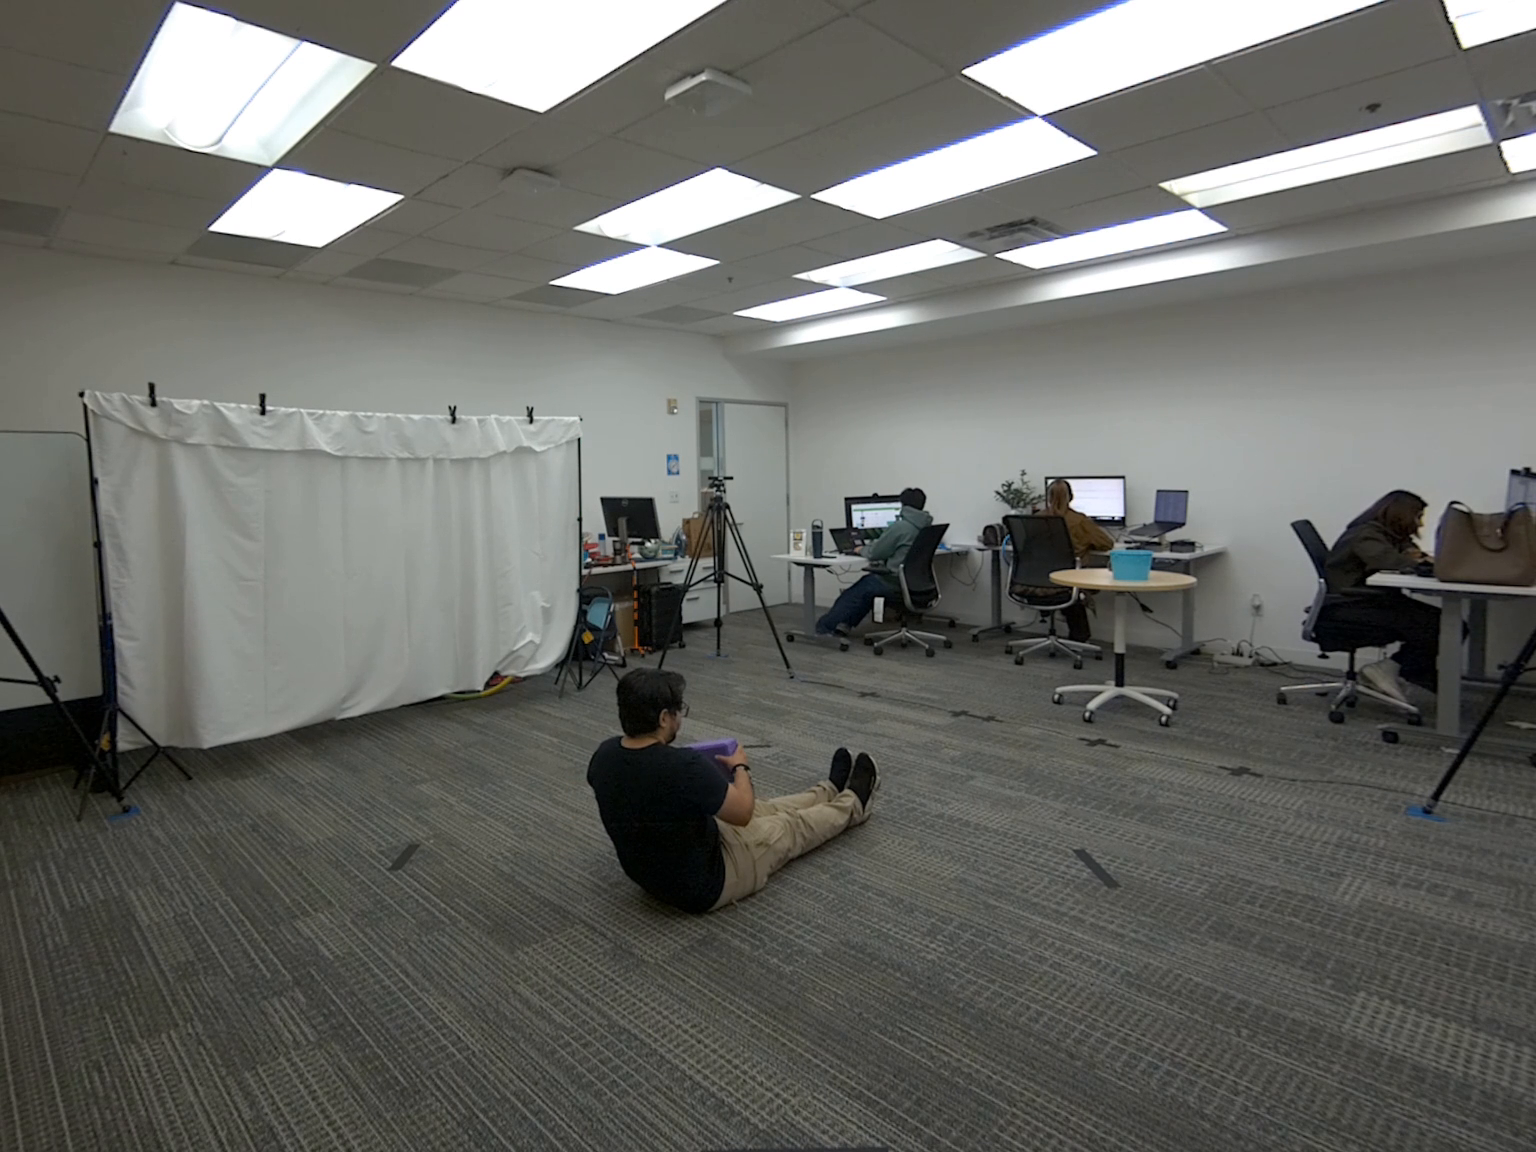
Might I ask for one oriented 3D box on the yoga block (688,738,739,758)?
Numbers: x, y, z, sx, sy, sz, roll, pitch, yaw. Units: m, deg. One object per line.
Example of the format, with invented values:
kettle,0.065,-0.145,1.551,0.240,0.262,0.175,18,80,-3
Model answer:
yoga block,-0.203,0.691,3.139,0.234,0.149,0.075,-15,-3,40
